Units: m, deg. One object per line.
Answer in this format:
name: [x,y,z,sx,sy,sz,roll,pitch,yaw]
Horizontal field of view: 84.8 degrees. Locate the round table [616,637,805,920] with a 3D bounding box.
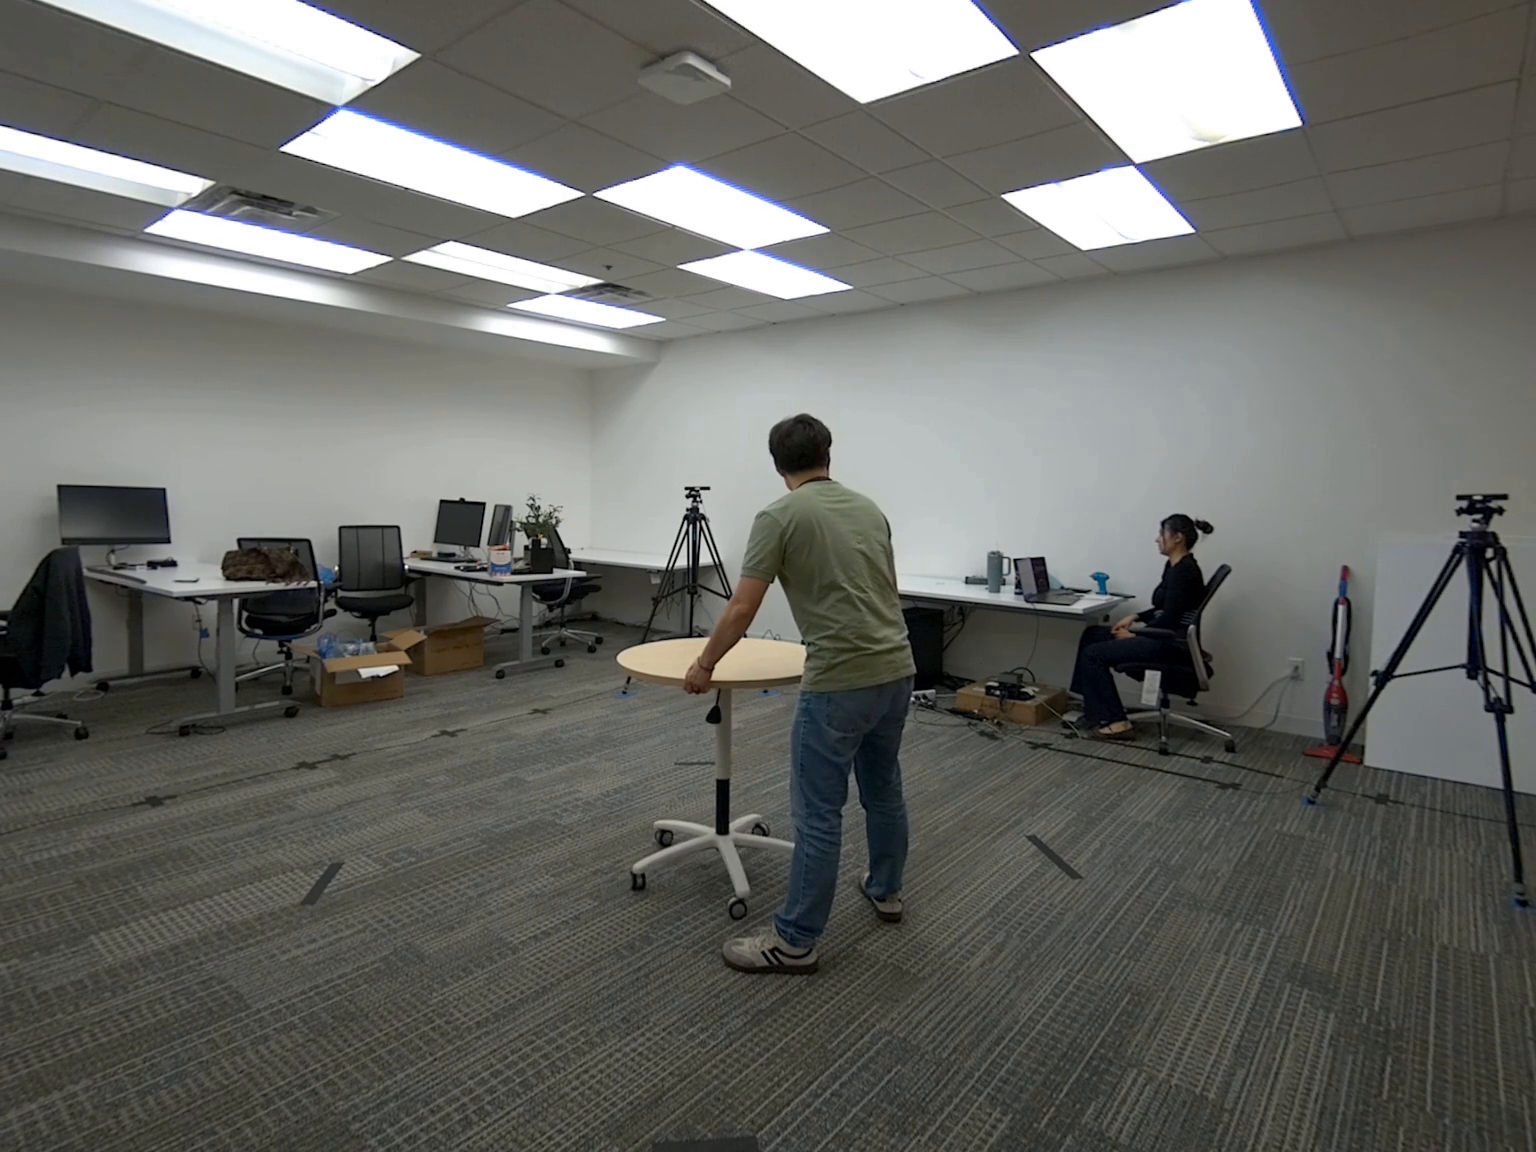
round table: [-0.177,0.680,3.060,0.763,0.791,0.768,1,4,-2]
